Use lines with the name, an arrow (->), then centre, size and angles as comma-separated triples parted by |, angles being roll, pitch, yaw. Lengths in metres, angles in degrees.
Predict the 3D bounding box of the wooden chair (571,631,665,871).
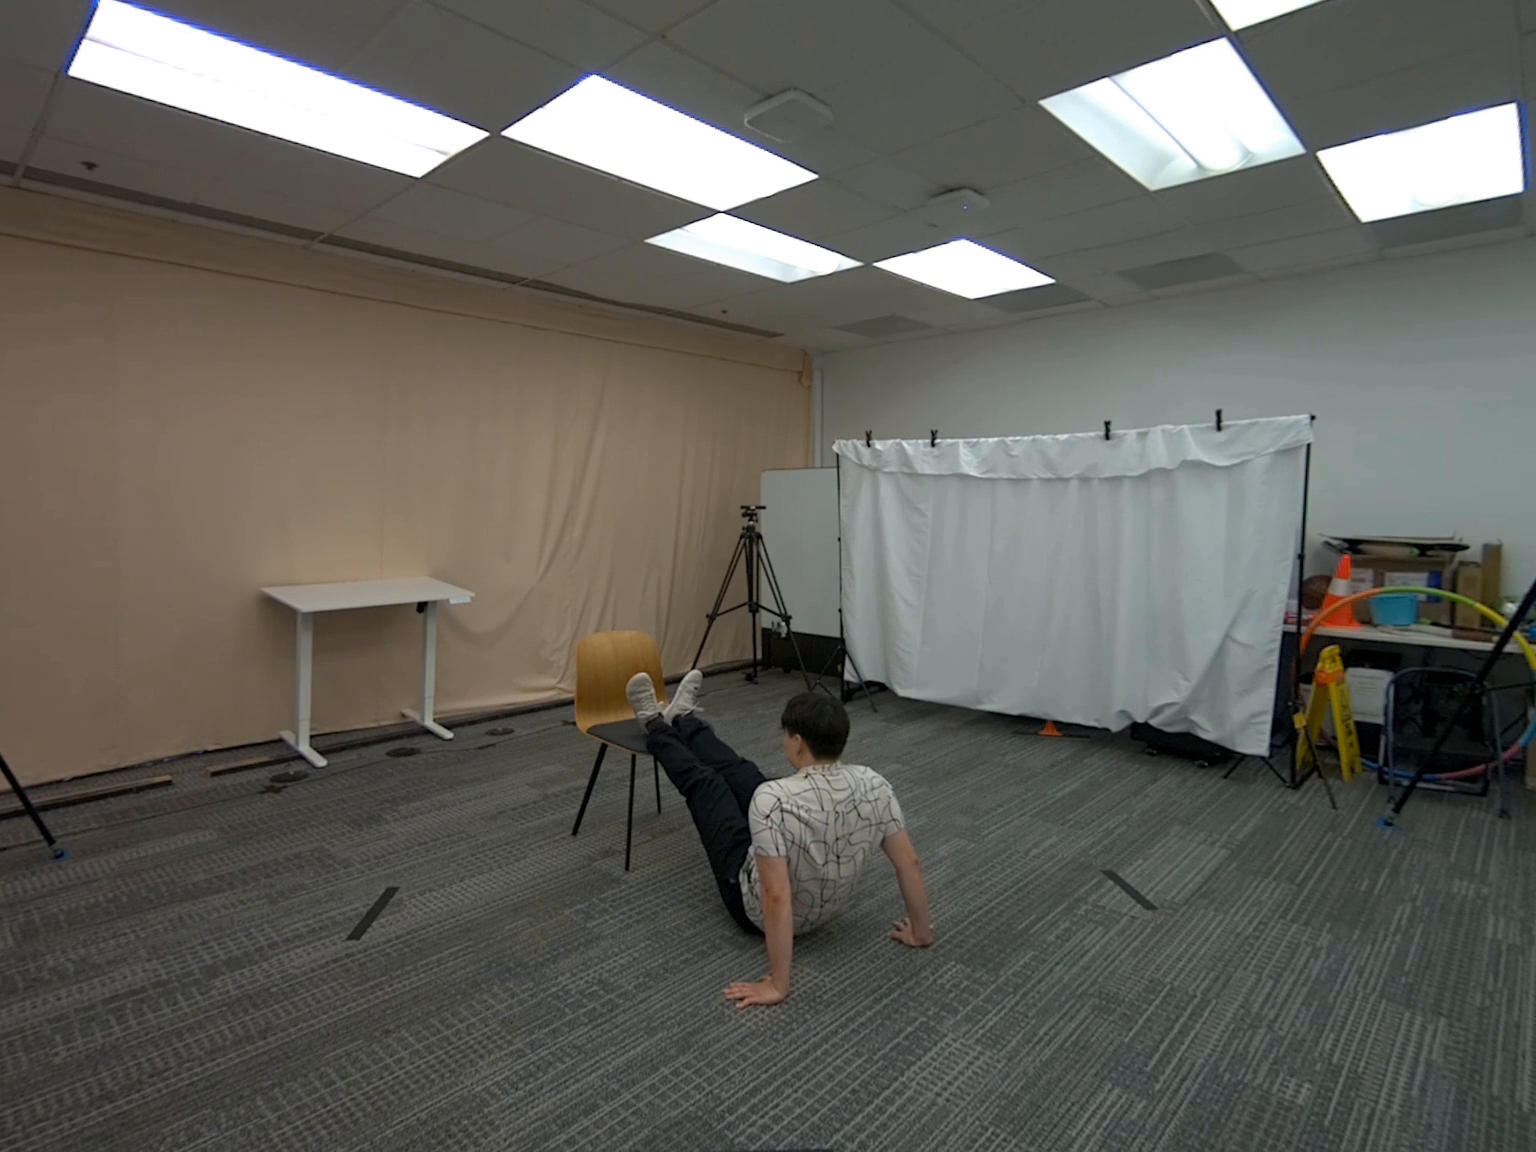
wooden chair -> -0.514, 0.678, 3.496 | 0.464, 0.878, 0.539 | -3, 0, -39
